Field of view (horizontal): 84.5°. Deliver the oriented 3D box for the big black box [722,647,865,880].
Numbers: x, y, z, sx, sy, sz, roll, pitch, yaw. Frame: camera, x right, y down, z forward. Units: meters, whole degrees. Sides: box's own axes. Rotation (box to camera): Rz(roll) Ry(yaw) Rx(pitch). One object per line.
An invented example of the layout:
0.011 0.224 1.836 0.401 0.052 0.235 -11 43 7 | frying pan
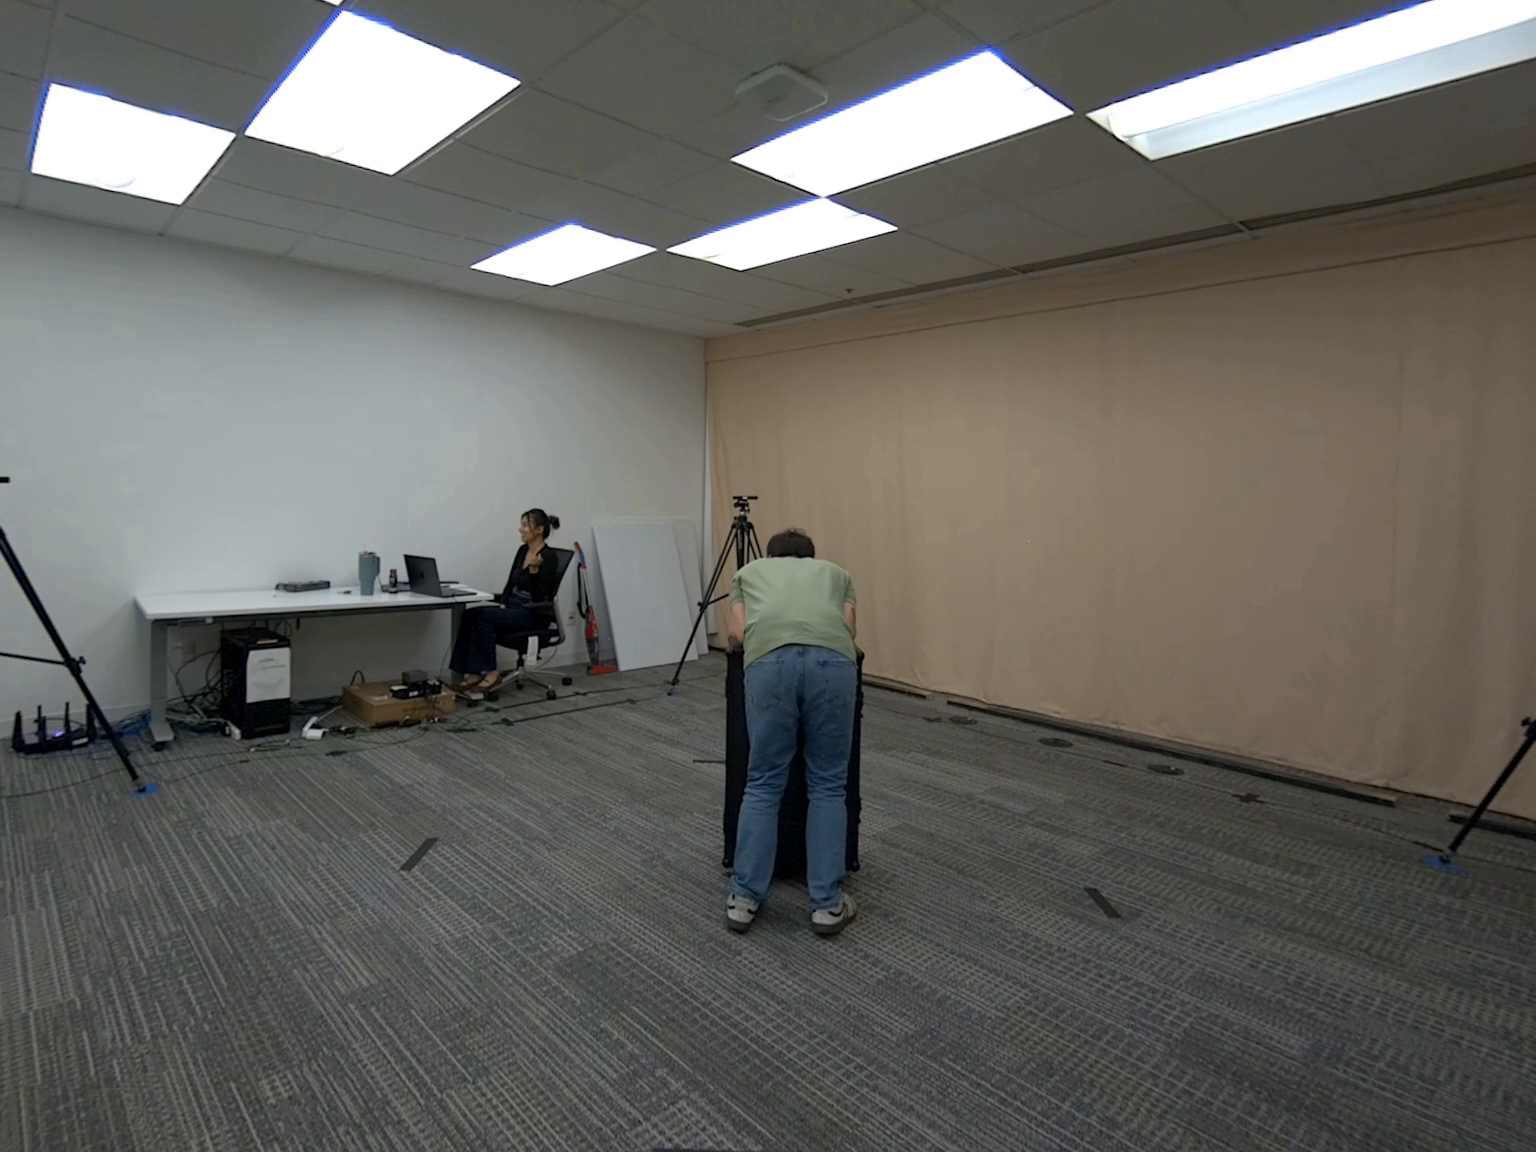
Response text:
0.072 0.685 3.176 0.521 0.860 0.397 1 2 0 | big black box
